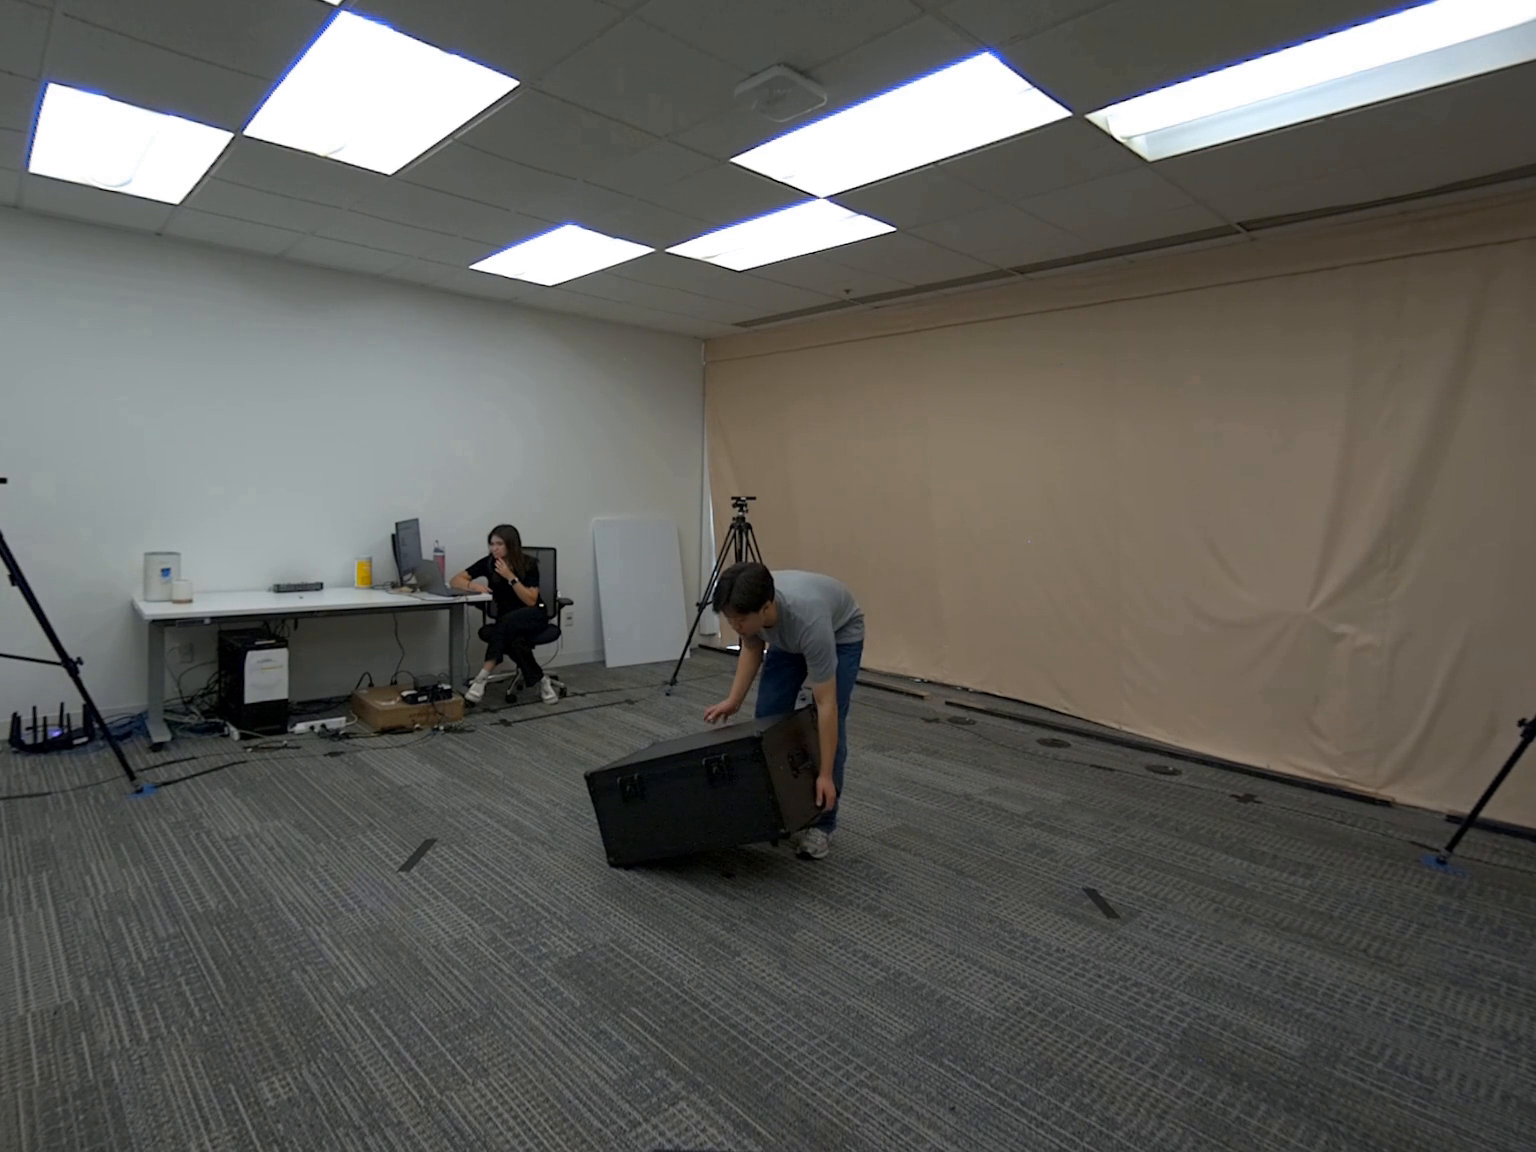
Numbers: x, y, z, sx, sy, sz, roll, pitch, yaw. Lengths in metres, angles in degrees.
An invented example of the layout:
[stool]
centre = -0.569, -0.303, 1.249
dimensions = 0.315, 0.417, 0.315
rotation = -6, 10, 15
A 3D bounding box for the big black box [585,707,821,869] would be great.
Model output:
[big black box]
centre = -0.242, 0.813, 3.210
dimensions = 0.872, 0.398, 0.511
rotation = -18, -6, 27
